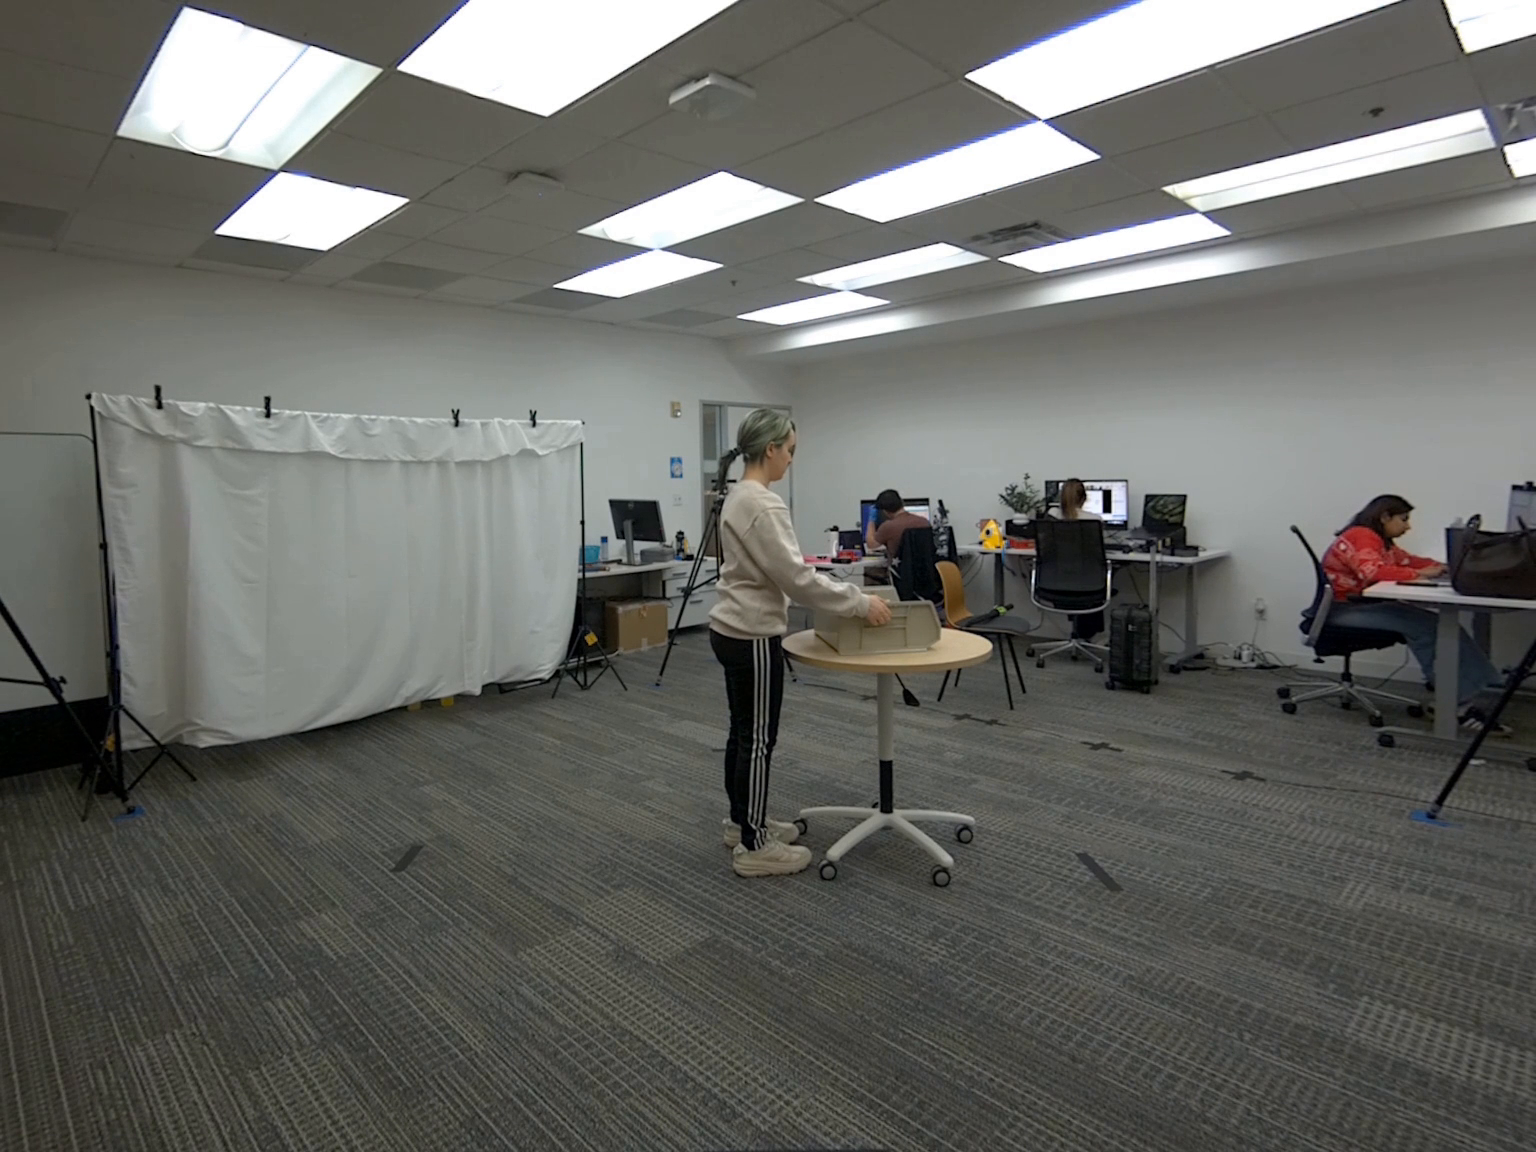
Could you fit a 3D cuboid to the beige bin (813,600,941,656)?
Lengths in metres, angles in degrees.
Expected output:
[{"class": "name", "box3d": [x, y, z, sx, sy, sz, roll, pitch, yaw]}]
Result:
[{"class": "beige bin", "box3d": [0.386, 0.157, 3.171, 0.374, 0.188, 0.428, -3, 7, -9]}]
